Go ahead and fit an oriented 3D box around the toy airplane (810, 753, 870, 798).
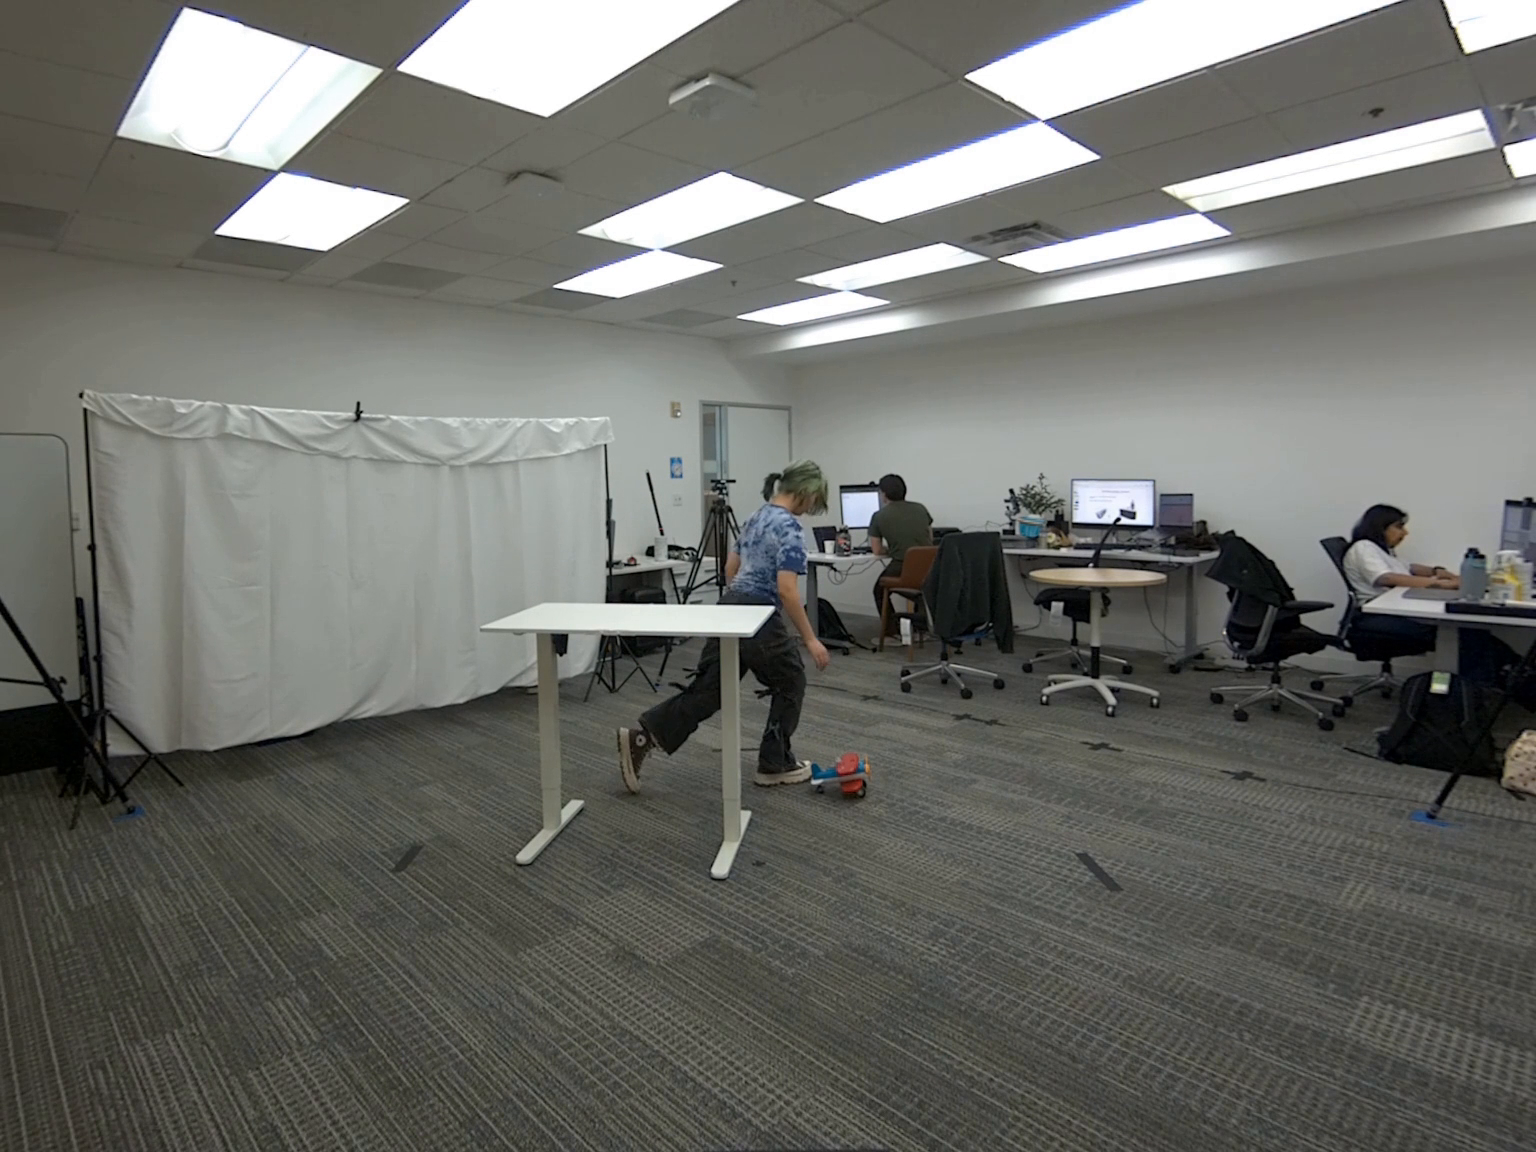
[{"bbox_3d":[0.322,0.894,3.775,0.255,0.156,0.256,-2,5,-18],"label":"toy airplane"}]
